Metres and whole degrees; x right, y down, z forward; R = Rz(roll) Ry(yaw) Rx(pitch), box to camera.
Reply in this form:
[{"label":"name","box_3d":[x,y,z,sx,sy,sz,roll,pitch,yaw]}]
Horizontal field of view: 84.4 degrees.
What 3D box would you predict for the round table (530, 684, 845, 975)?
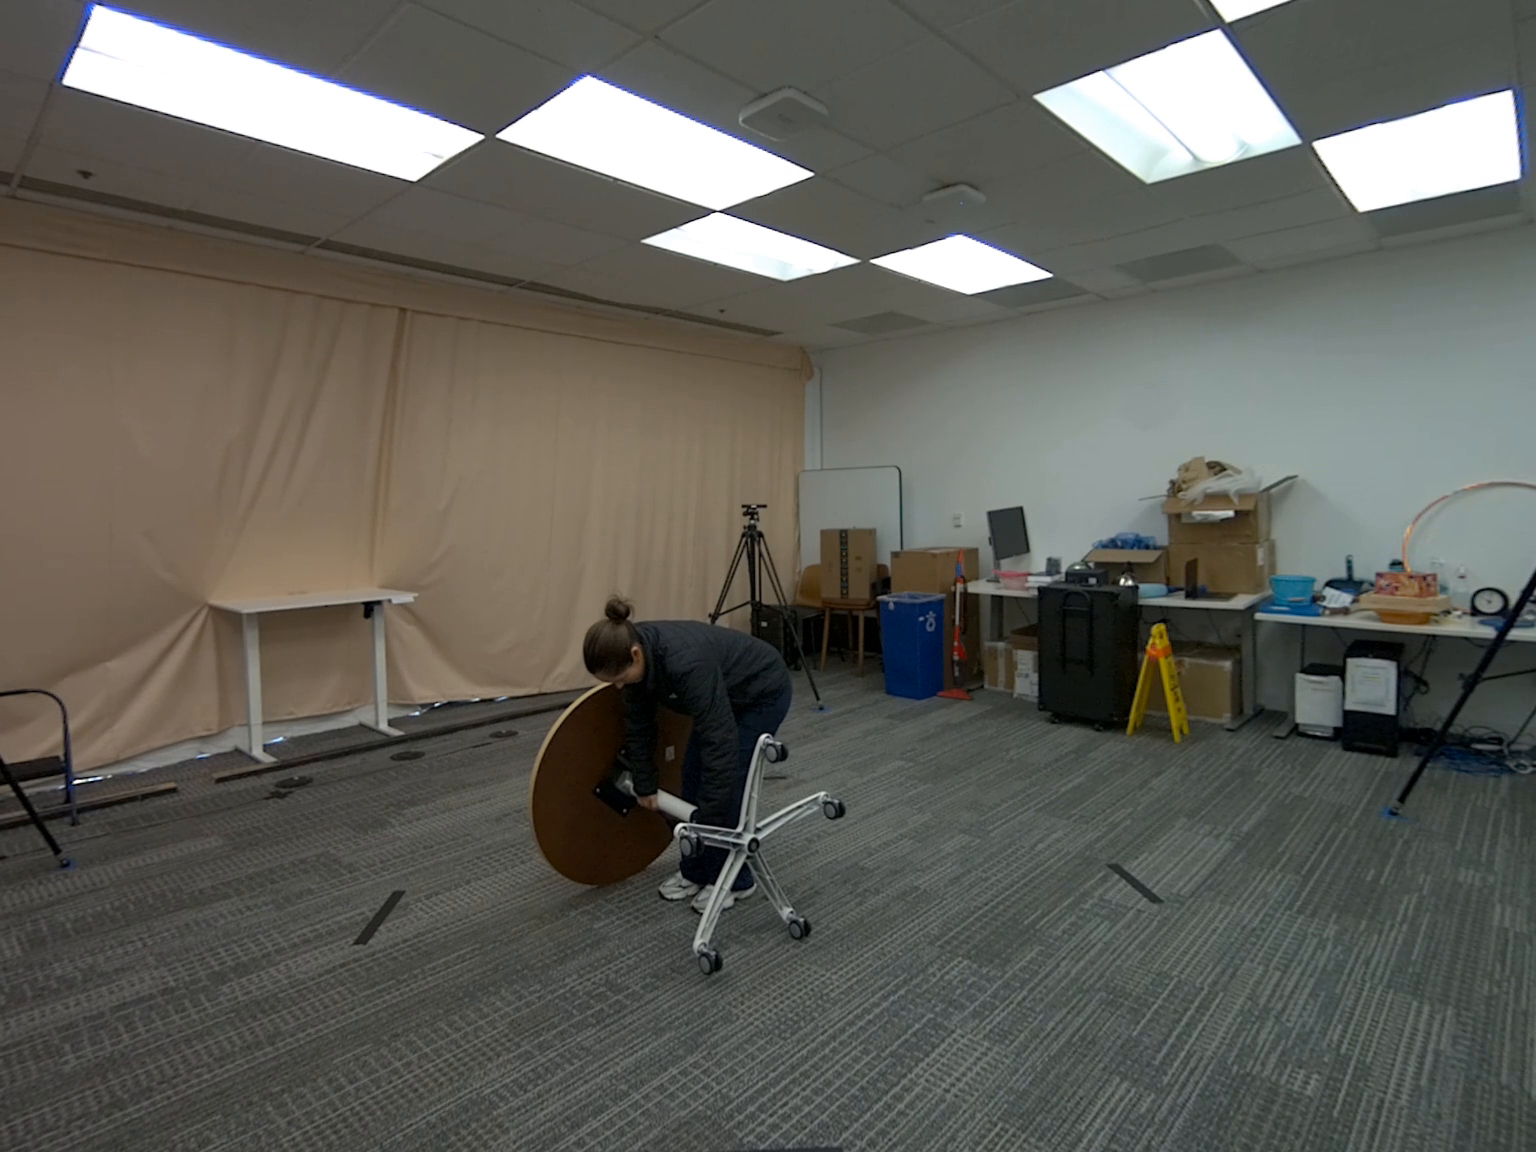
[{"label":"round table","box_3d":[-0.249,0.811,2.850,0.814,0.782,0.761,9,10,44]}]
